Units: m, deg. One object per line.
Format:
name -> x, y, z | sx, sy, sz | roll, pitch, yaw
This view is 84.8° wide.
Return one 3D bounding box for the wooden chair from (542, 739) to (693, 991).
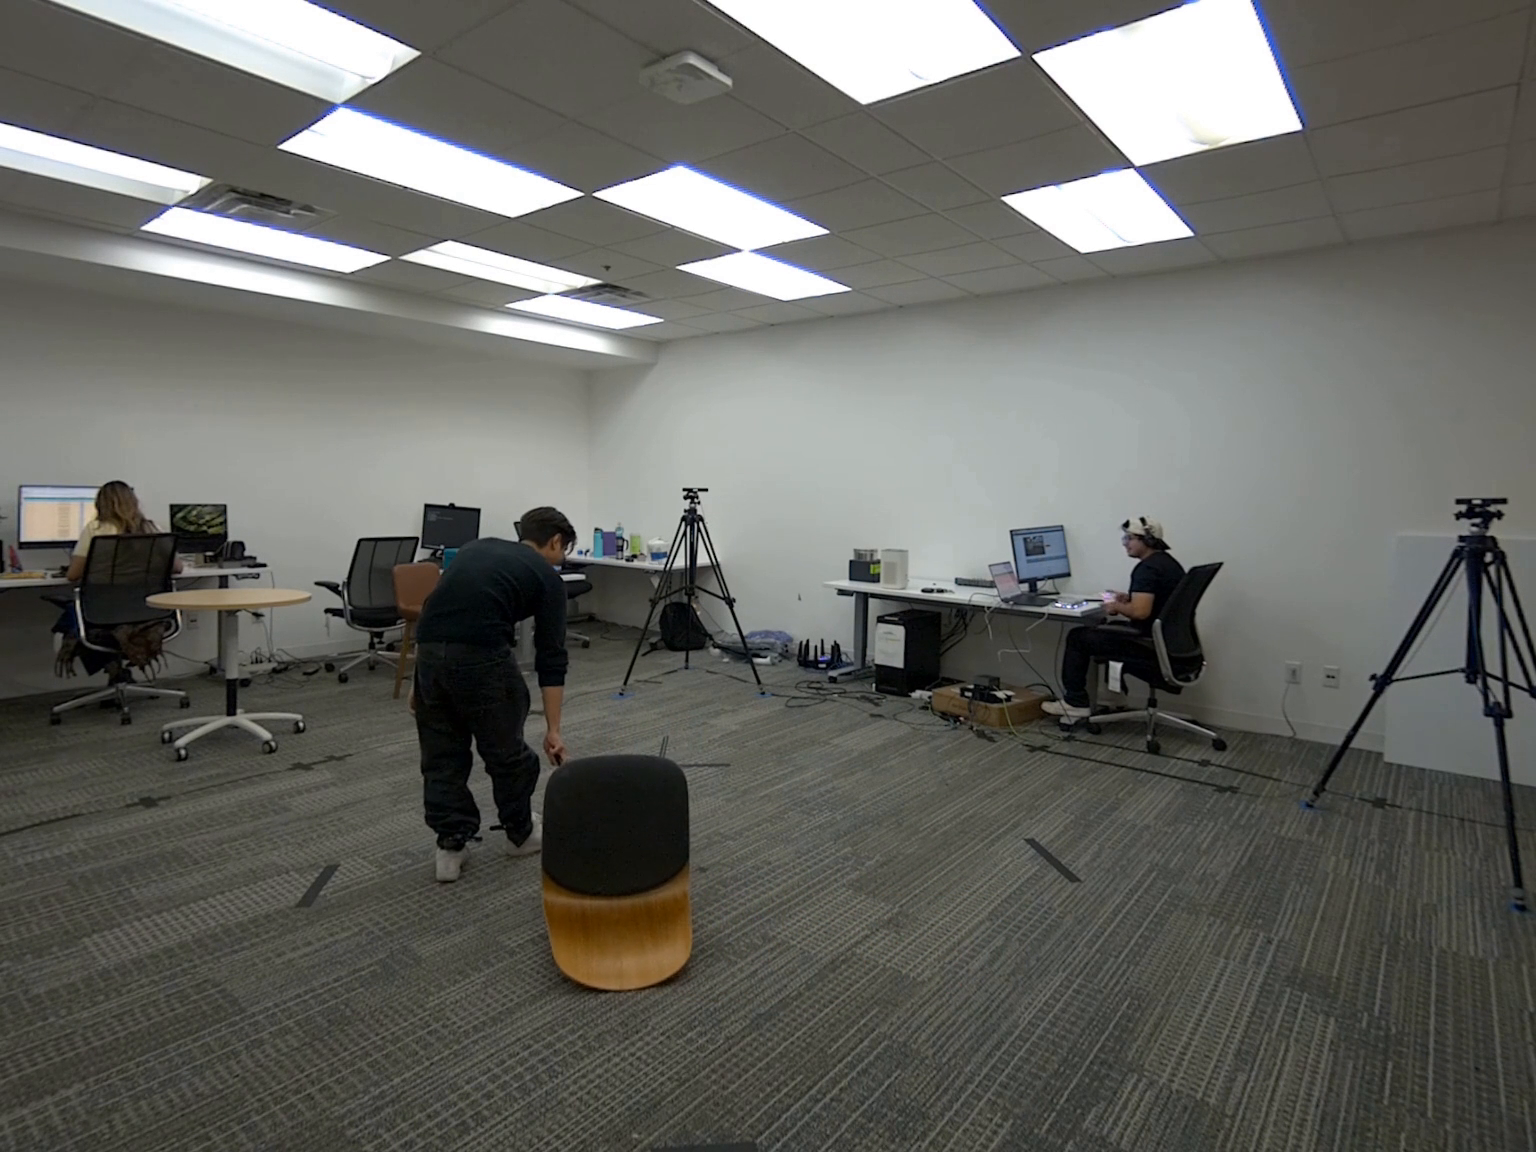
wooden chair -> -0.509, 0.841, 2.753 | 0.472, 0.521, 0.893 | 0, 6, -14
